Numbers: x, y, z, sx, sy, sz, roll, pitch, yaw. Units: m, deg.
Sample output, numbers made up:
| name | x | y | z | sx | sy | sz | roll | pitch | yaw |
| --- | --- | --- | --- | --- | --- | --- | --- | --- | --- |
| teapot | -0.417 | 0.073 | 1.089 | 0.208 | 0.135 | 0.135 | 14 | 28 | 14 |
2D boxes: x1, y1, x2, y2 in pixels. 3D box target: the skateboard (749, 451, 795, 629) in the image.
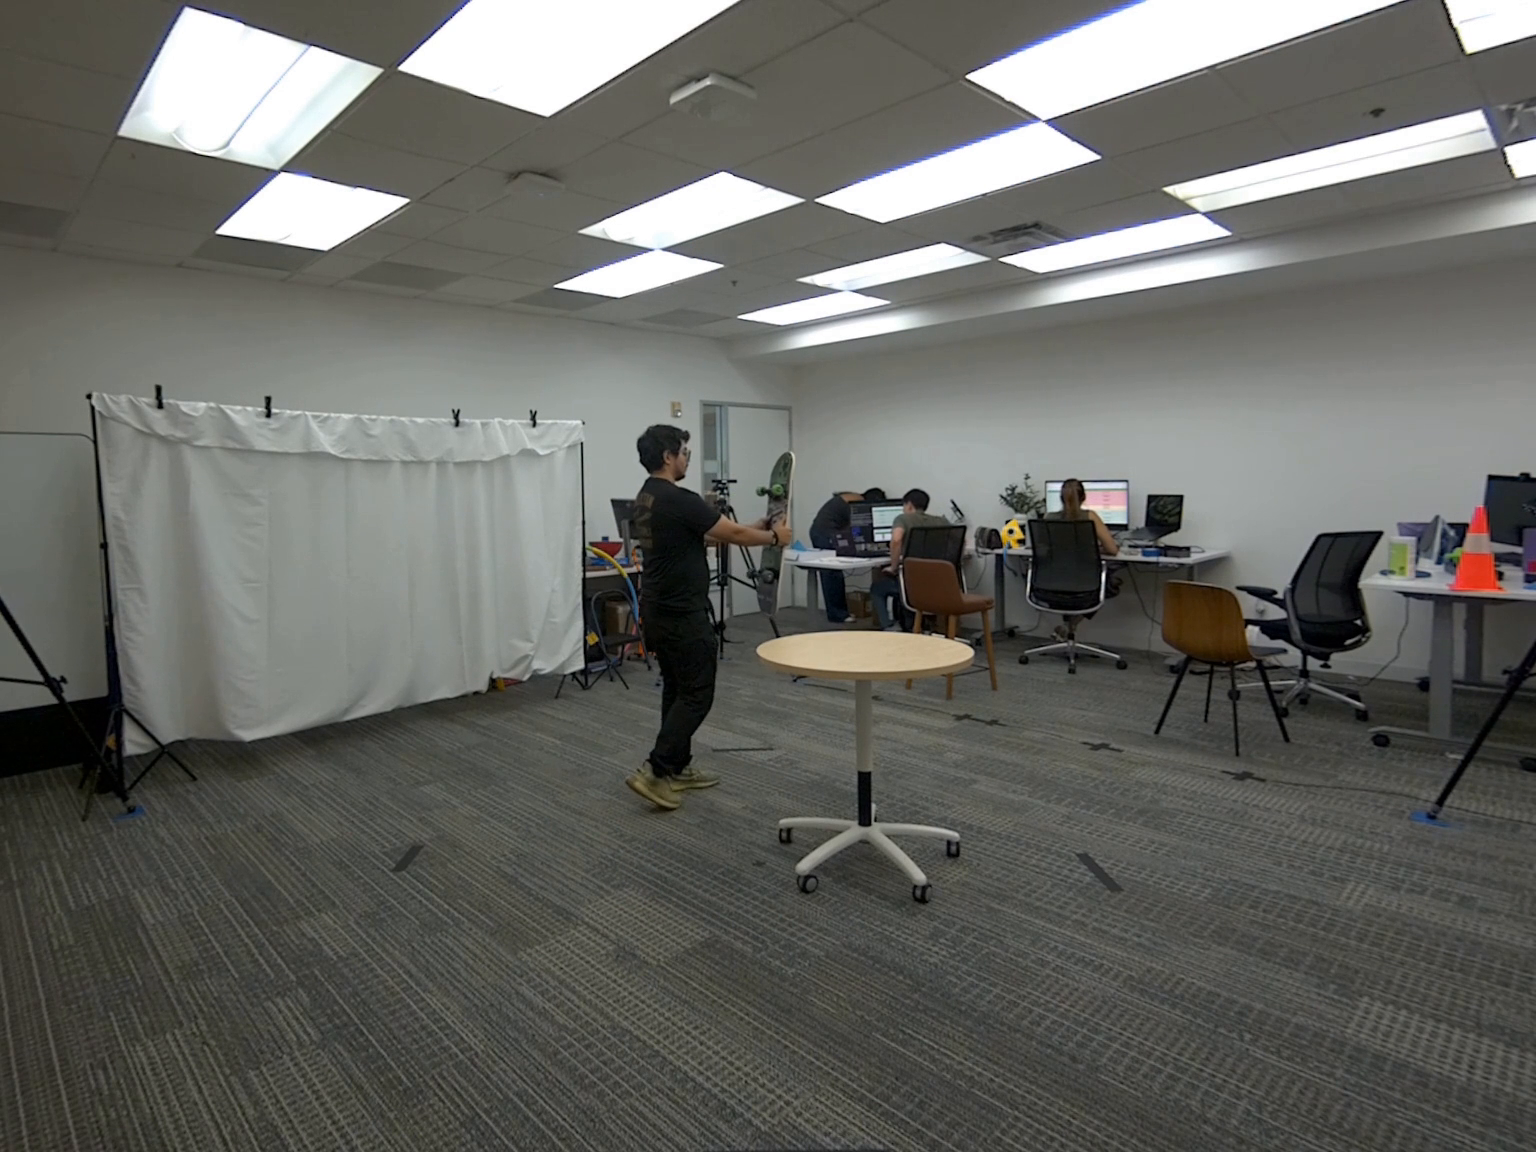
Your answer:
| name | x | y | z | sx | sy | sz | roll | pitch | yaw |
| --- | --- | --- | --- | --- | --- | --- | --- | --- | --- |
| skateboard | 0.005 | -0.199 | 3.999 | 0.107 | 0.787 | 0.198 | 8 | -4 | -29 |
